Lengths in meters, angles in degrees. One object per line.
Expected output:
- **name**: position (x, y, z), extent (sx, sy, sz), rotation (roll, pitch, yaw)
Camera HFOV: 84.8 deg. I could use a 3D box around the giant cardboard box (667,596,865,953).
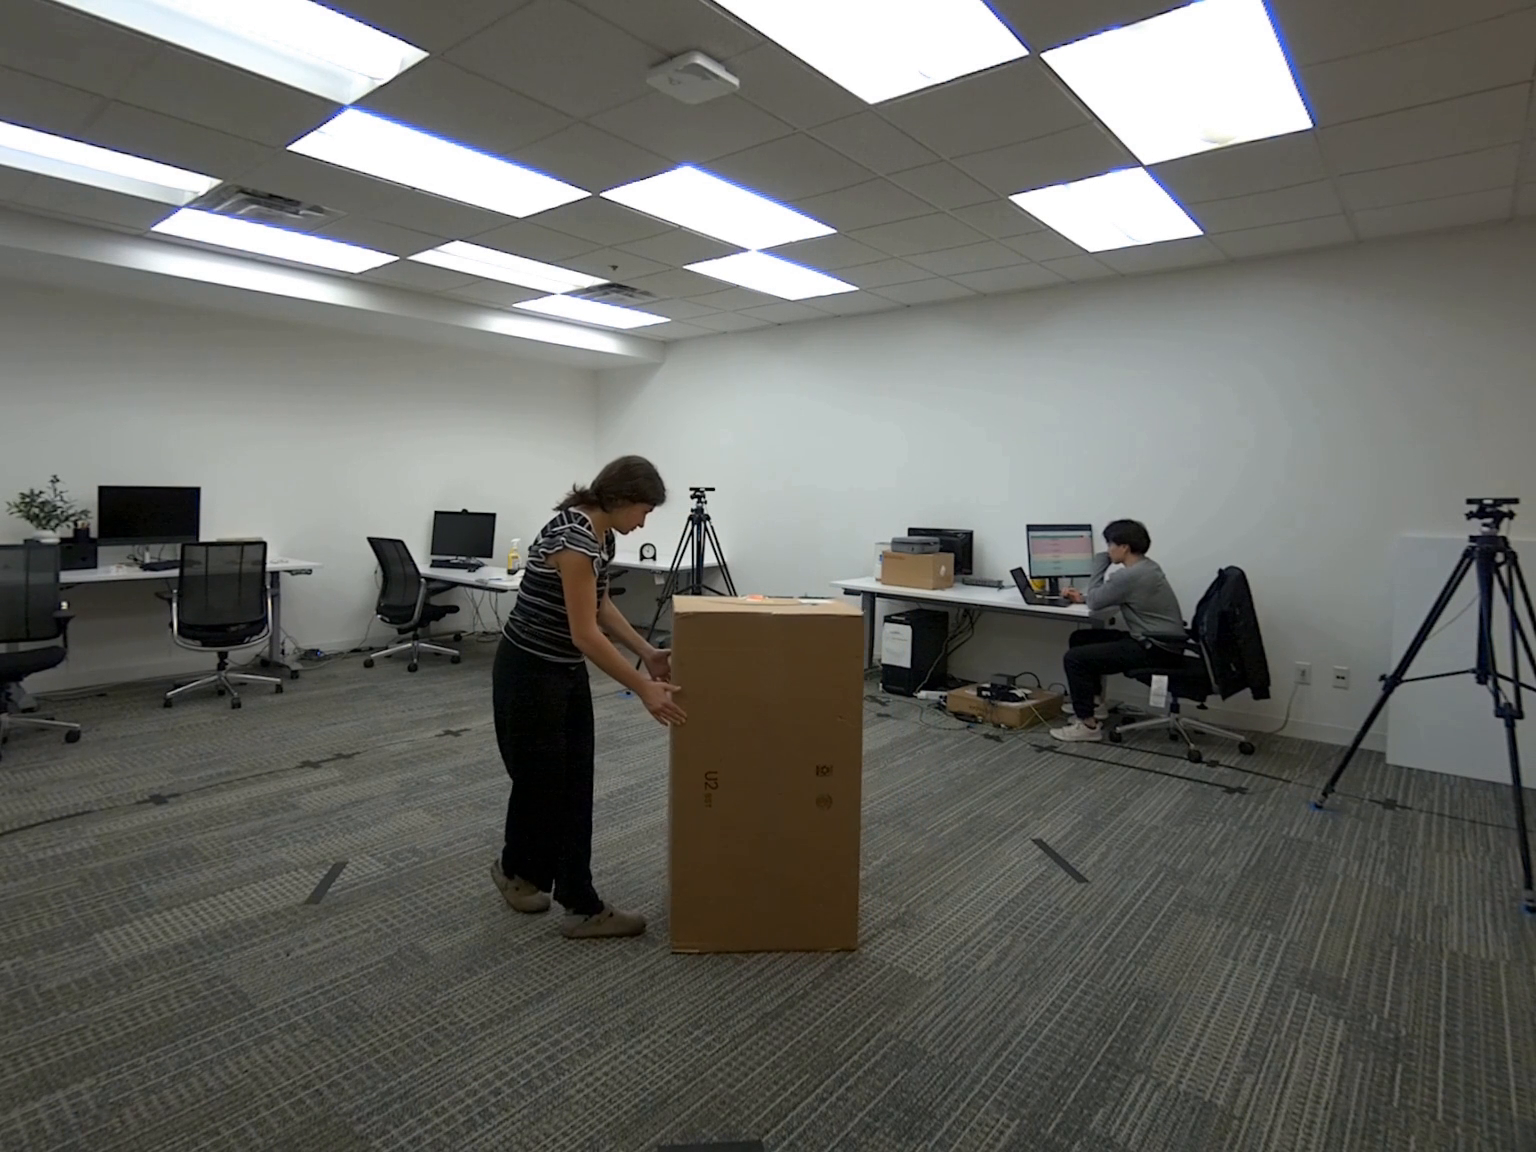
- **giant cardboard box**: position (-0.033, 0.597, 2.735), extent (0.575, 1.023, 0.429), rotation (1, 3, -4)
